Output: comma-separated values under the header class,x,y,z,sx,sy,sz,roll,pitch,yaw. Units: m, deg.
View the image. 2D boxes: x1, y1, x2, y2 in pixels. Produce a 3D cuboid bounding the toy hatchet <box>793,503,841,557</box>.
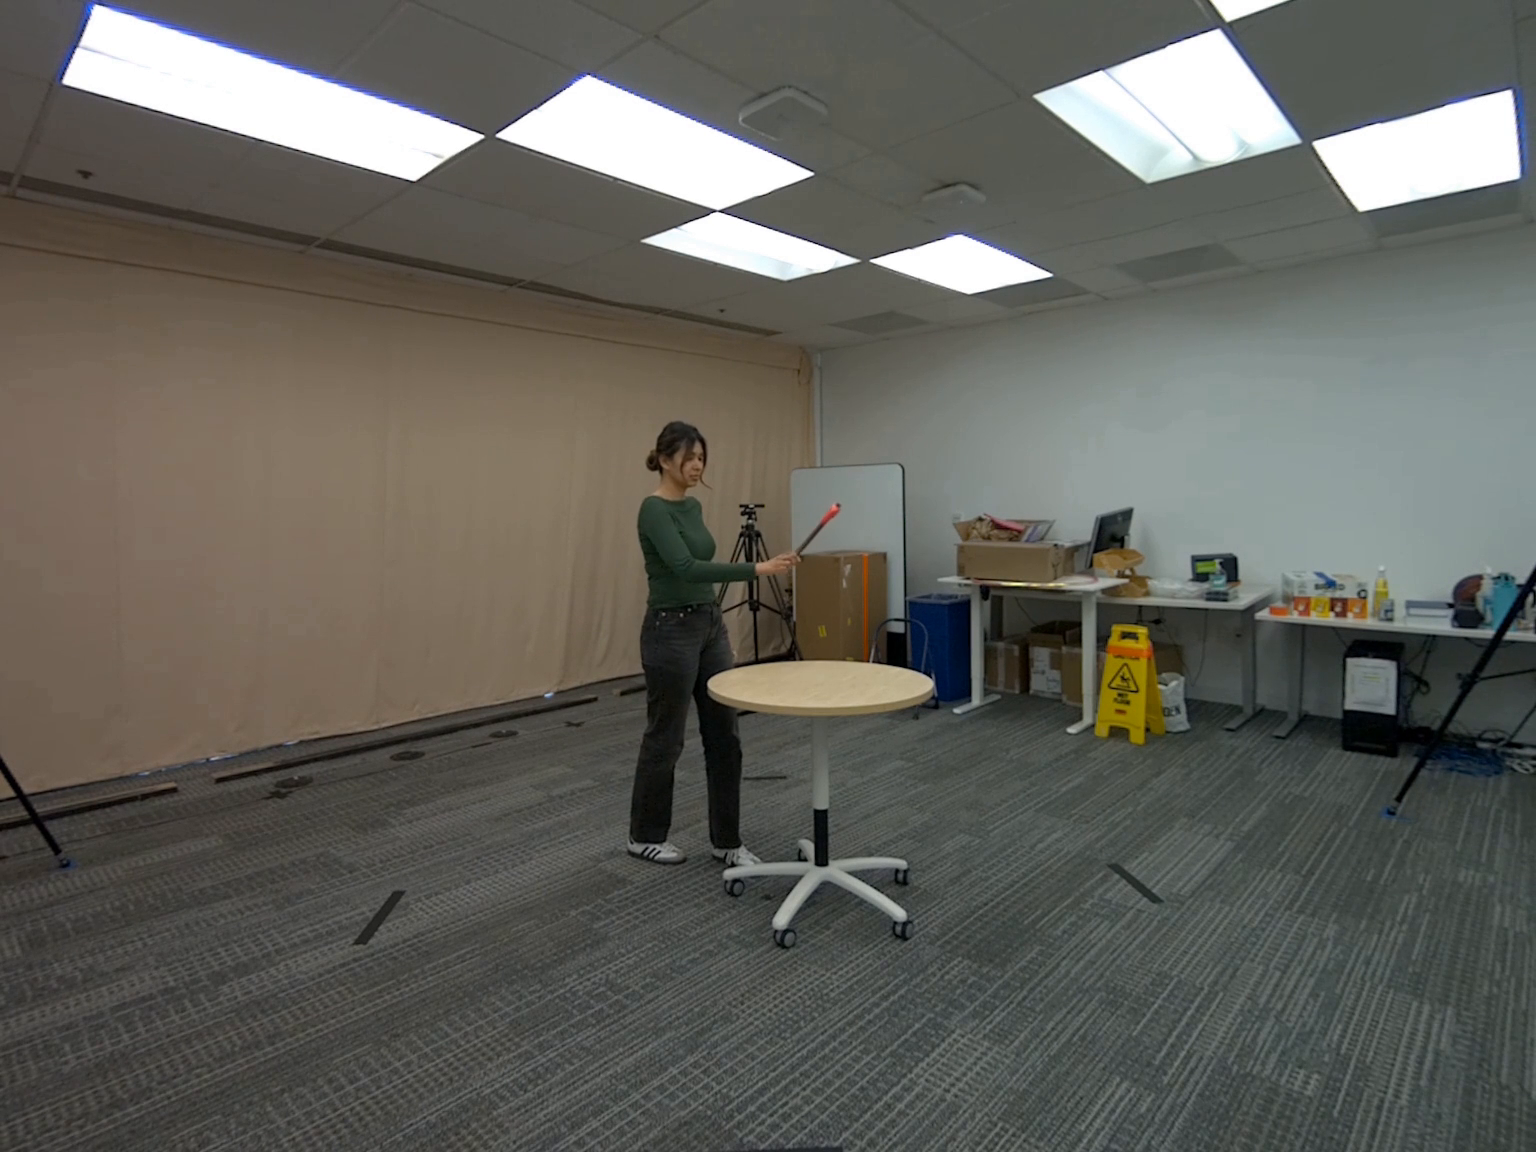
class,x,y,z,sx,sy,sz,roll,pitch,yaw
toy hatchet,0.159,-0.140,2.815,0.030,0.270,0.131,42,-3,0
